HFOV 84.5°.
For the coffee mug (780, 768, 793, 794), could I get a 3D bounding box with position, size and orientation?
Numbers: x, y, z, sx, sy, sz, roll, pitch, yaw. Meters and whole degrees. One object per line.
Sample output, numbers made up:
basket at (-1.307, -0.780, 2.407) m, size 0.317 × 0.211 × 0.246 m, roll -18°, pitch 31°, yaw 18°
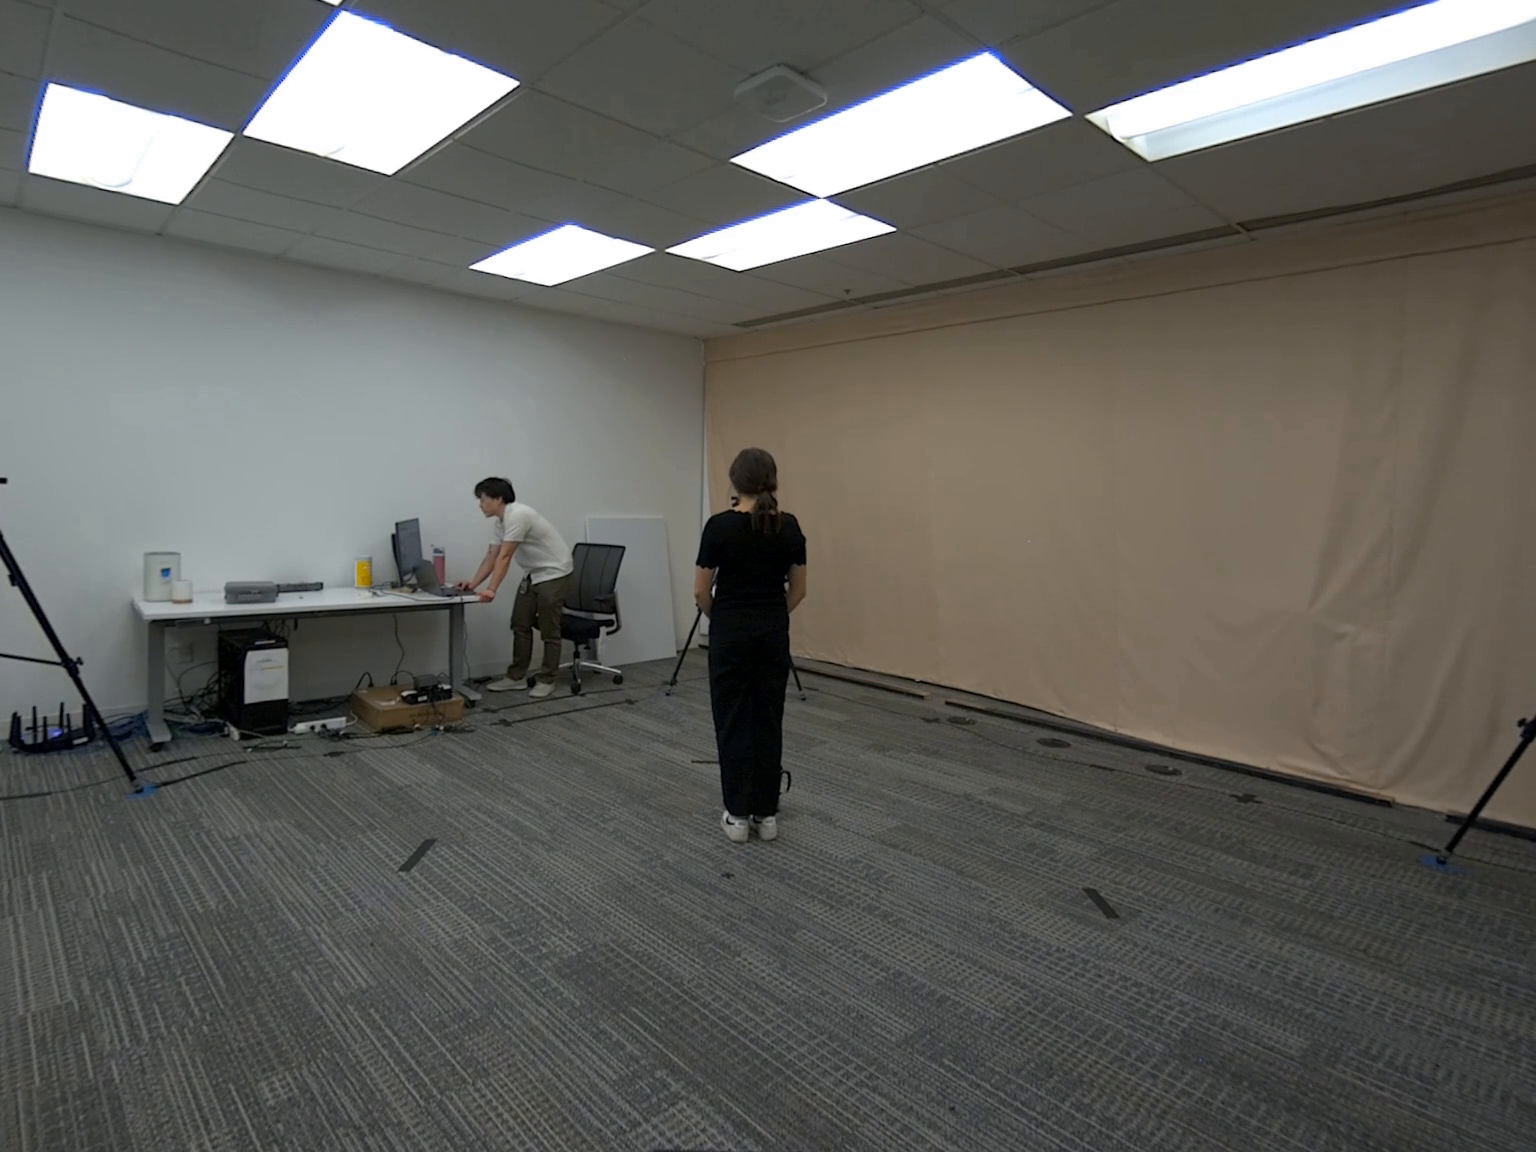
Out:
coffee mug at (0.031, 0.959, 3.763) m, size 0.125 × 0.203 × 0.086 m, roll 2°, pitch 0°, yaw 38°
